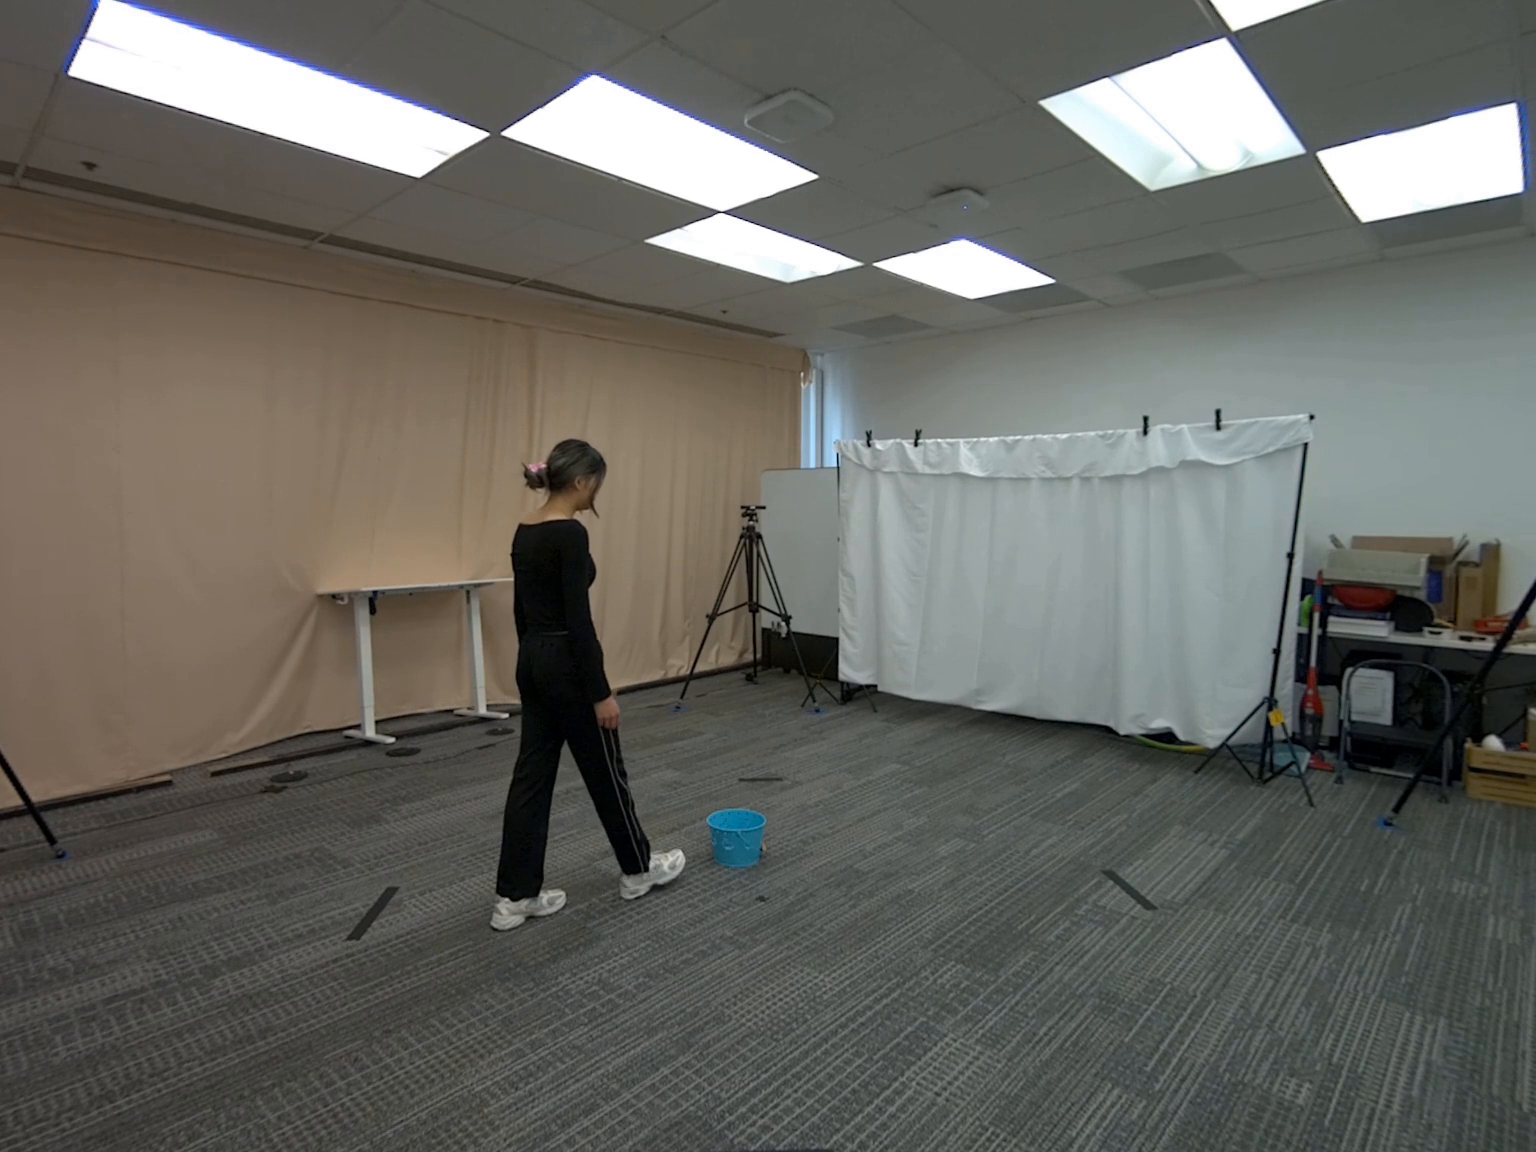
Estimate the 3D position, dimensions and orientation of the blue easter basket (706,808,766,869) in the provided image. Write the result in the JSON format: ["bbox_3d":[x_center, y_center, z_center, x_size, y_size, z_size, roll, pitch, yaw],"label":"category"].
[{"bbox_3d":[-0.117,1.035,3.327,0.243,0.155,0.244,-1,4,-2],"label":"blue easter basket"}]
